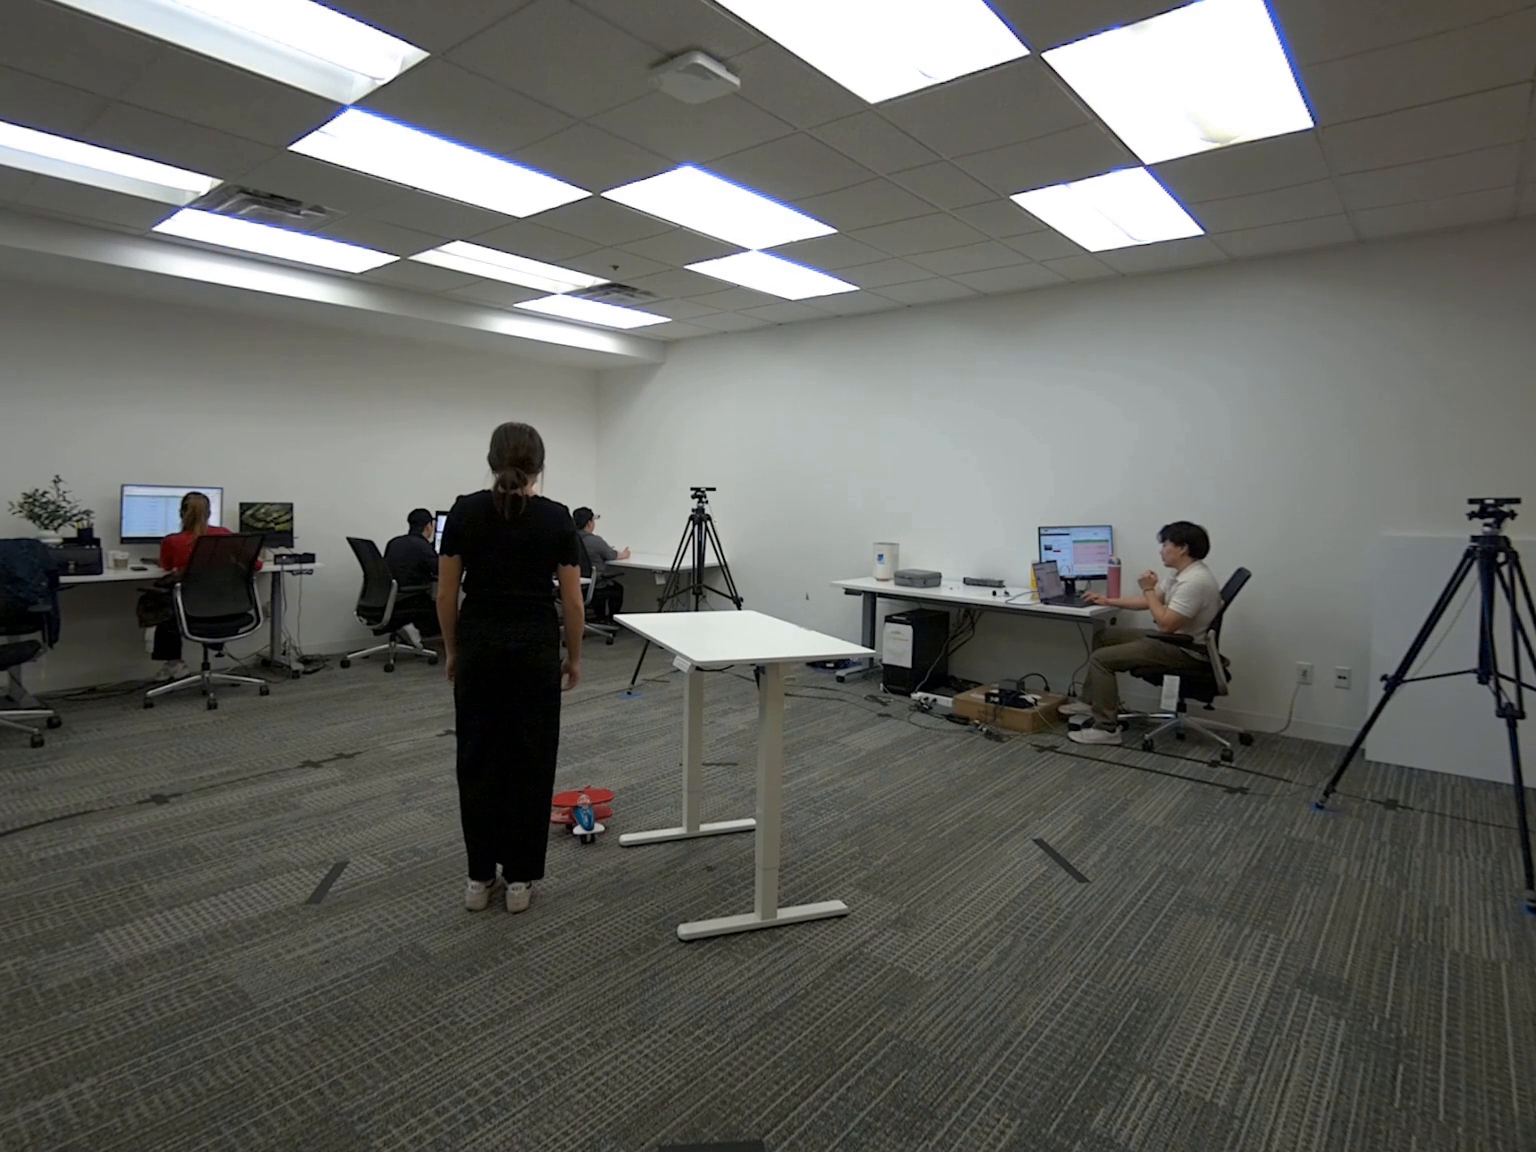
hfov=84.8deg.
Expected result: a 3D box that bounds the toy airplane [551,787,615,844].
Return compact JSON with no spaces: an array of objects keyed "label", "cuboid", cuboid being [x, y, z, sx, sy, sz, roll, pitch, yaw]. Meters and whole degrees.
[{"label":"toy airplane","cuboid":[-0.736,0.952,3.406,0.268,0.156,0.244,3,6,40]}]
